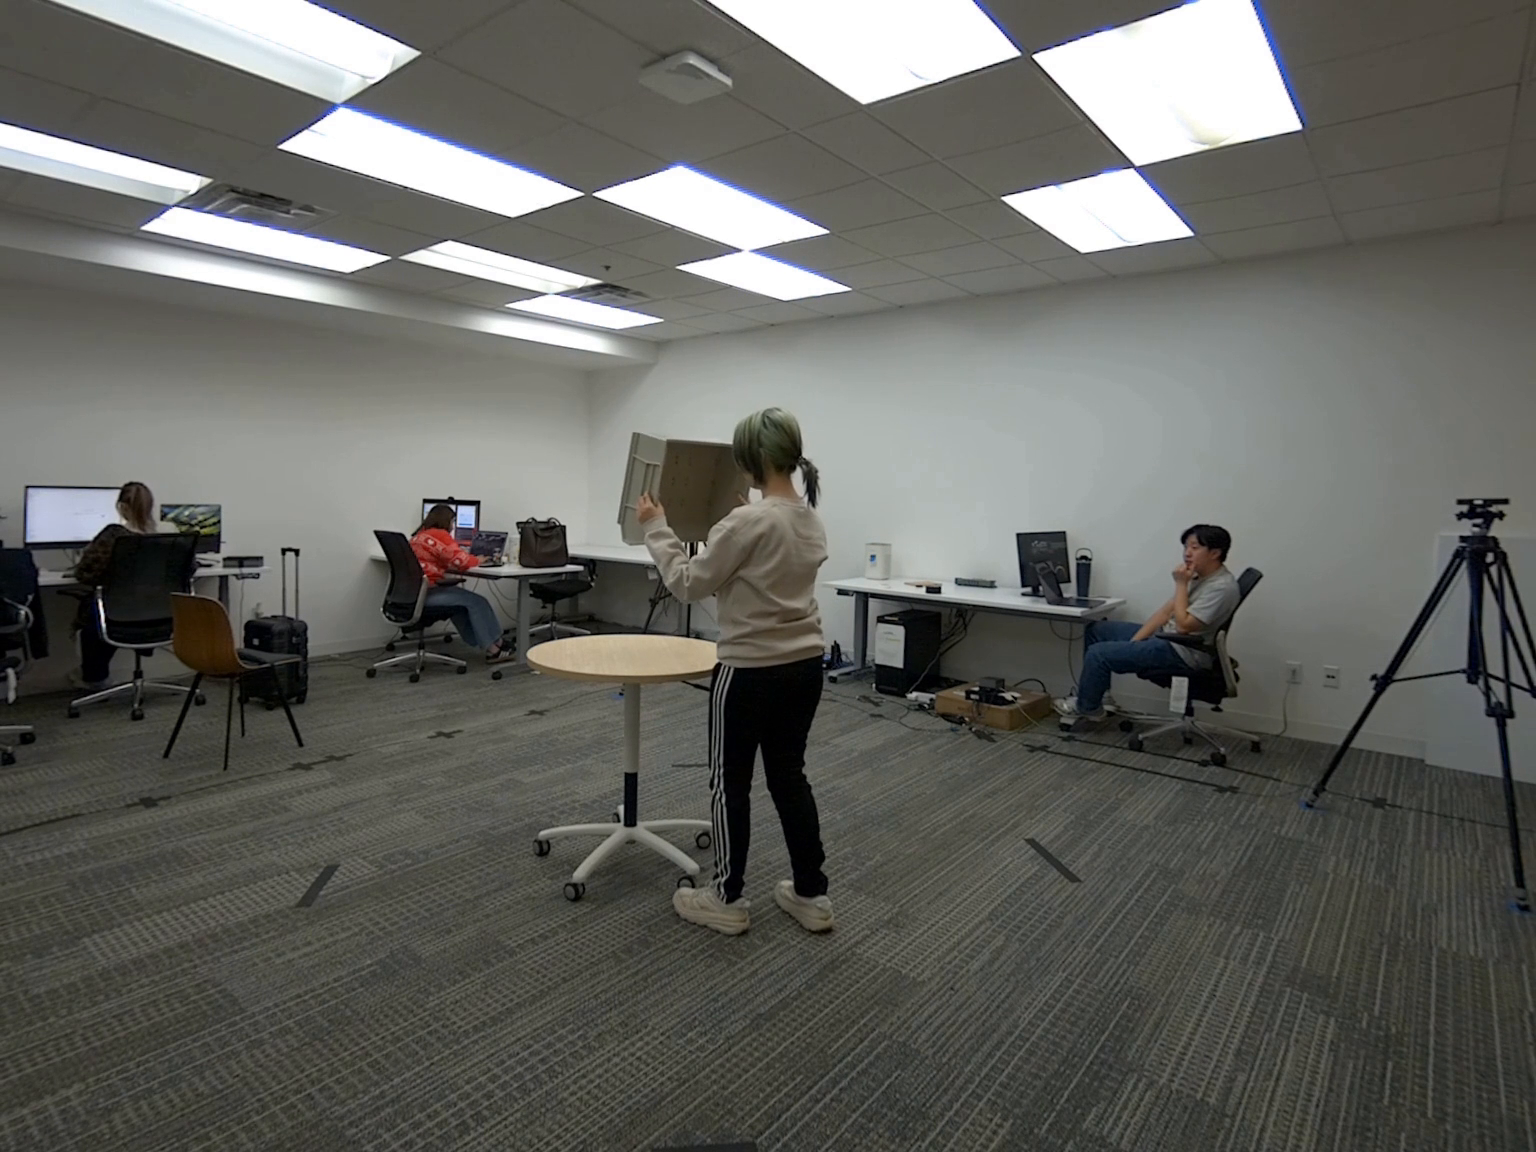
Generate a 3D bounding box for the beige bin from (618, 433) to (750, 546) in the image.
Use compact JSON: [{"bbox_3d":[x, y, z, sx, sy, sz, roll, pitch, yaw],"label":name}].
[{"bbox_3d":[-0.280,-0.290,2.889,0.409,0.374,0.197,-3,18,-45],"label":"beige bin"}]
